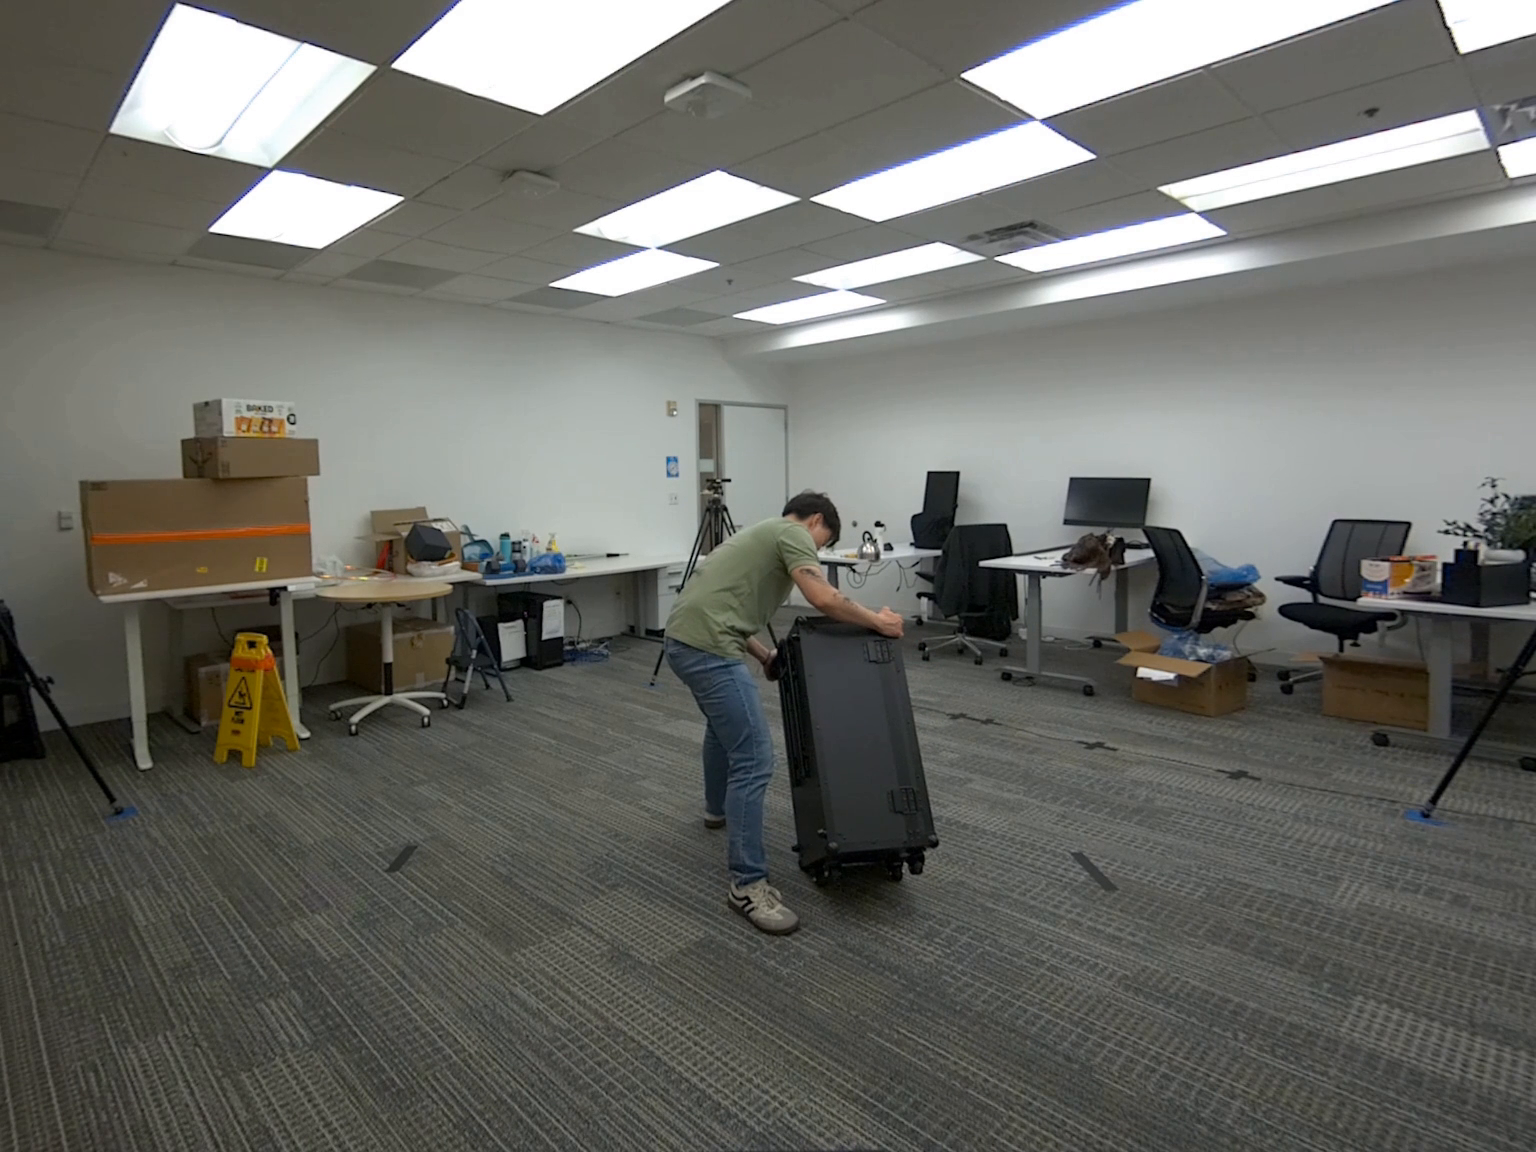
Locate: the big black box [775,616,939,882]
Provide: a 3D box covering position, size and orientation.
[{"bbox_3d":[0.279,0.620,3.012,0.393,0.882,0.513,-3,-25,-10],"label":"big black box"}]
